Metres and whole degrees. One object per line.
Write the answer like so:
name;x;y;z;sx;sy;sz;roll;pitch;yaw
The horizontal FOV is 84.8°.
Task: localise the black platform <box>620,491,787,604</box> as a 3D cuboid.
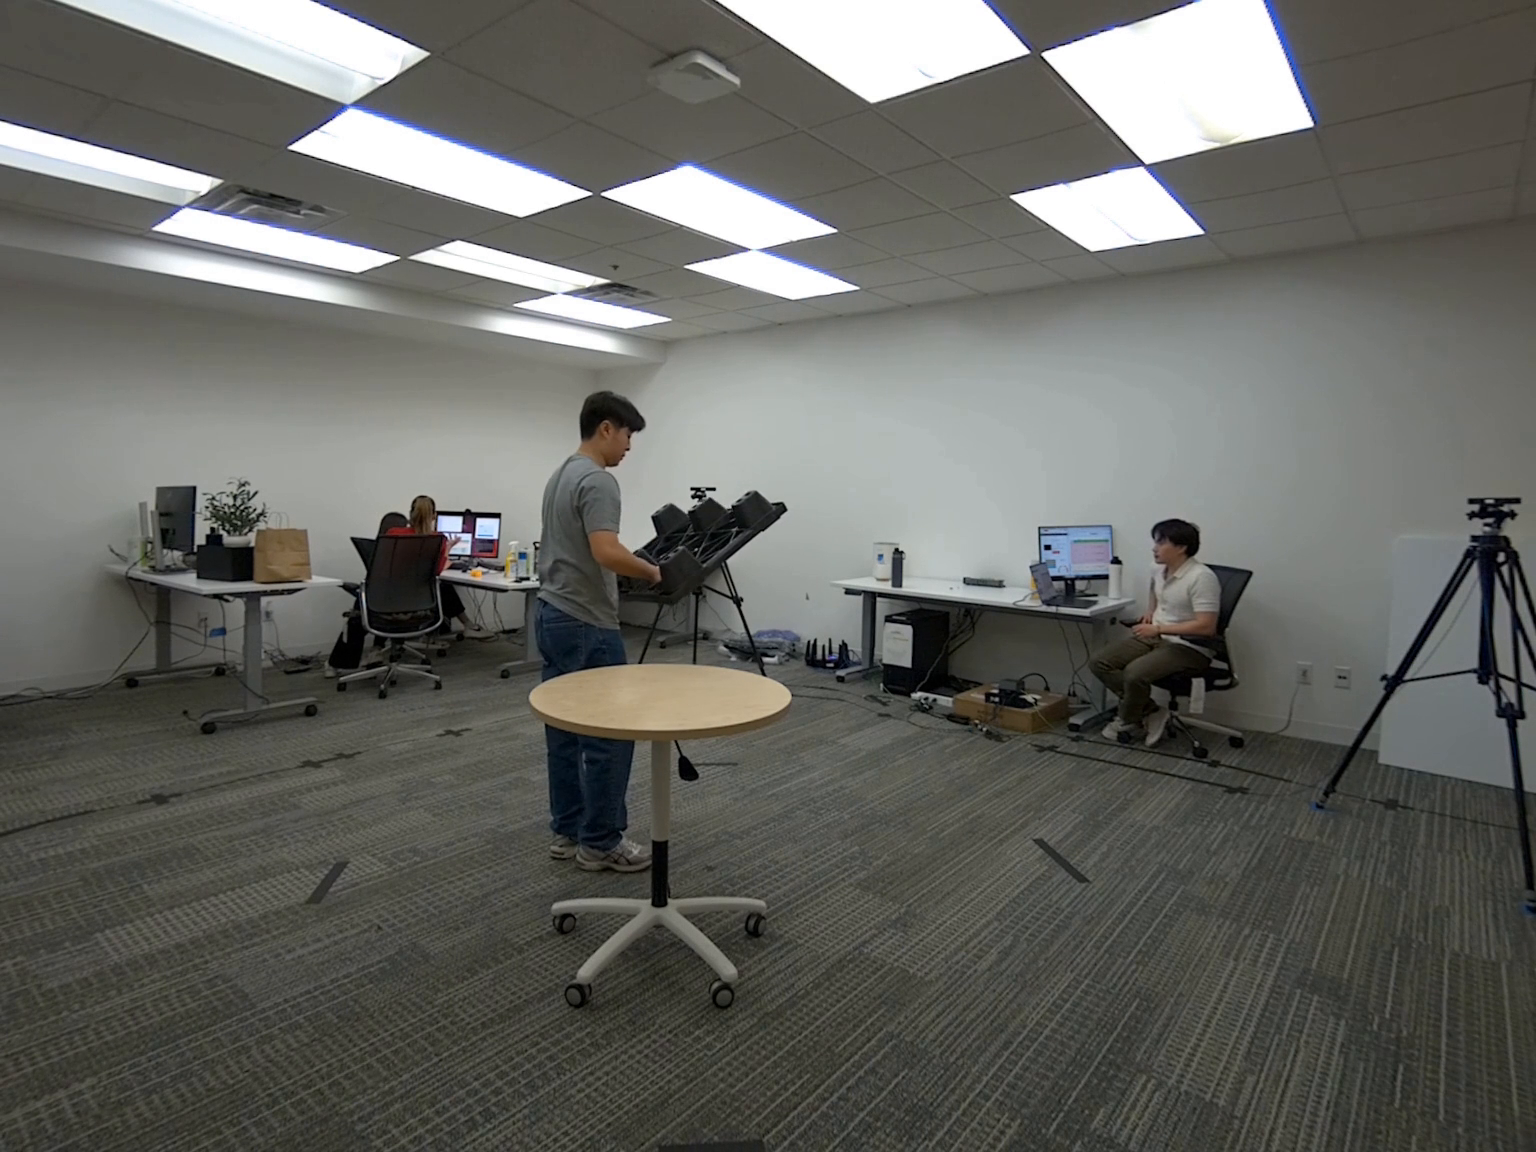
black platform;-0.379;-0.124;3.373;0.602;0.140;0.828;-40;21;-26
